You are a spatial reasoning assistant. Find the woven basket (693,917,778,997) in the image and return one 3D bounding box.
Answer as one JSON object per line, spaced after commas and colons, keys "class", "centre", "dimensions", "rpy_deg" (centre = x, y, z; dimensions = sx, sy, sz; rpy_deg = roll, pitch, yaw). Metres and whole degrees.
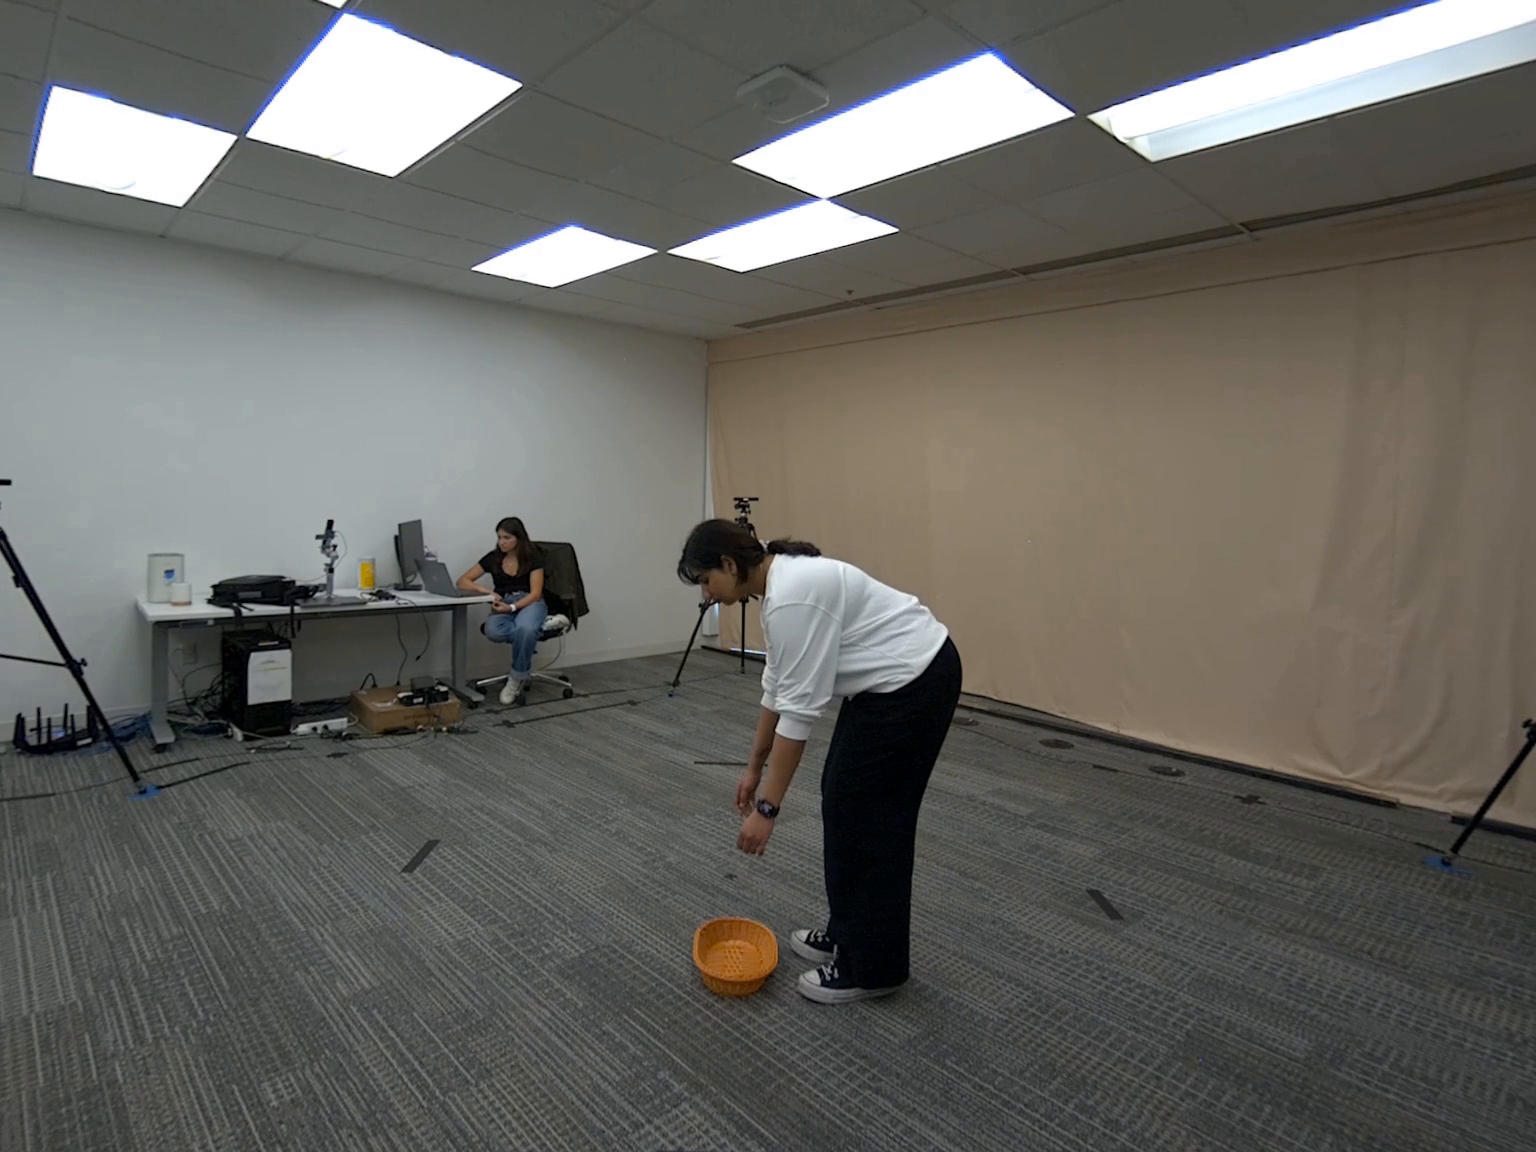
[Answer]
{"class": "woven basket", "centre": [-0.106, 1.121, 2.498], "dimensions": [0.253, 0.073, 0.350], "rpy_deg": [3, 5, 2]}
